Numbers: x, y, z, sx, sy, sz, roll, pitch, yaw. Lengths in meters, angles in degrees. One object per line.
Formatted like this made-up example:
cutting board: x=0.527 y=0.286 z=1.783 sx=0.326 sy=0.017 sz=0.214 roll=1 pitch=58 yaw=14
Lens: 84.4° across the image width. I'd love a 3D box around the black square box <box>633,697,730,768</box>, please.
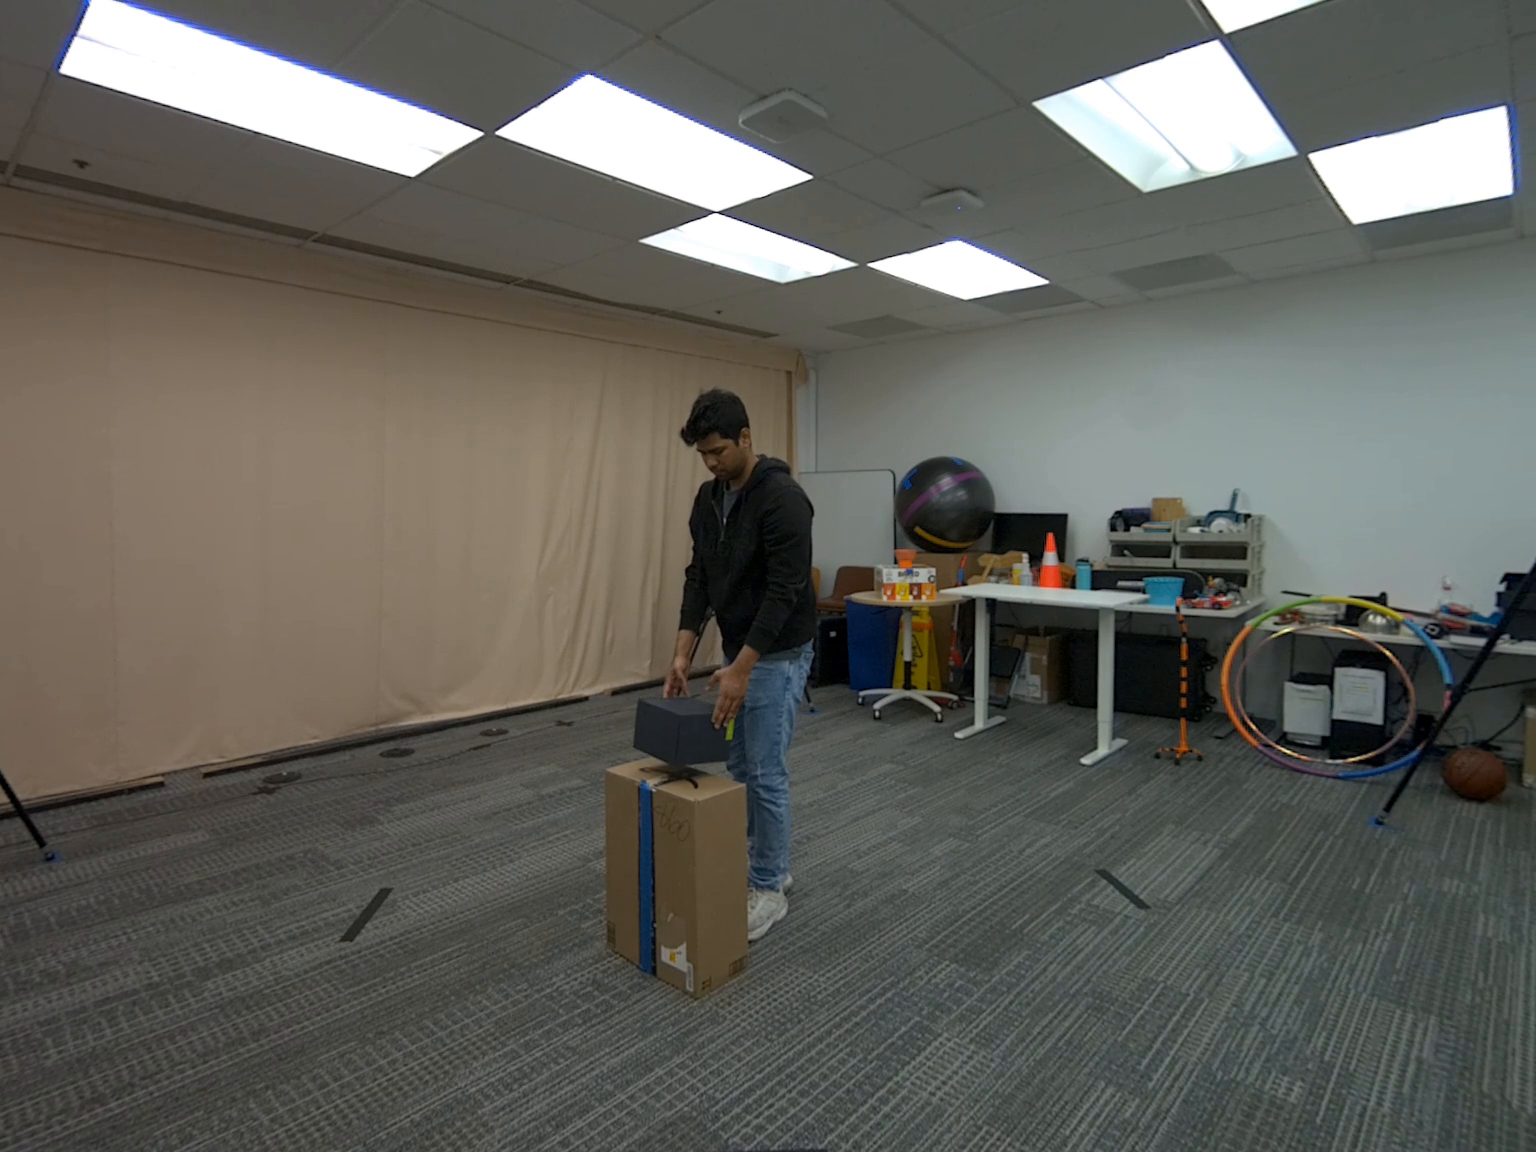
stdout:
black square box: x=-0.268 y=0.479 z=2.632 sx=0.210 sy=0.156 sz=0.235 roll=7 pitch=-1 yaw=-39
